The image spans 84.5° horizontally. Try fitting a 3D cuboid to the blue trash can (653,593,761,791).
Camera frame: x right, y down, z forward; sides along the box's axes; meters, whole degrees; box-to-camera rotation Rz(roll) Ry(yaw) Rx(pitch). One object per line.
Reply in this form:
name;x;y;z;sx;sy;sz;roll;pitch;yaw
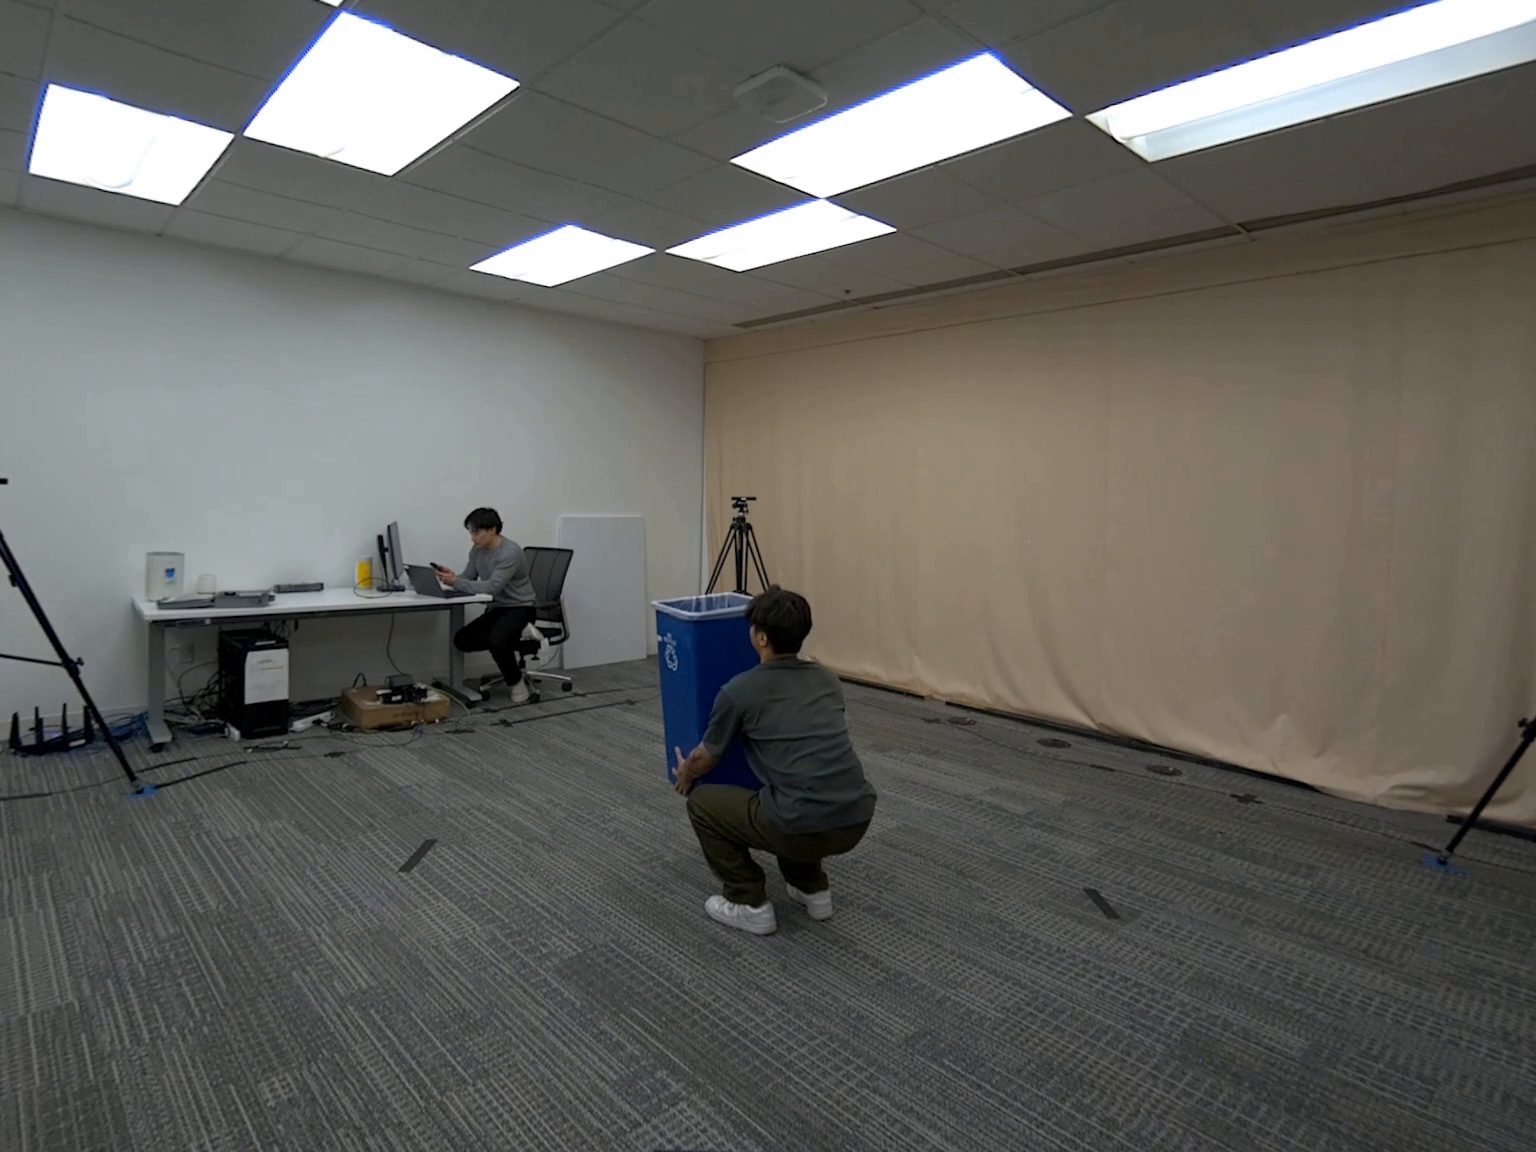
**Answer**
blue trash can;-0.213;0.451;3.222;0.367;0.711;0.387;-5;6;-31
